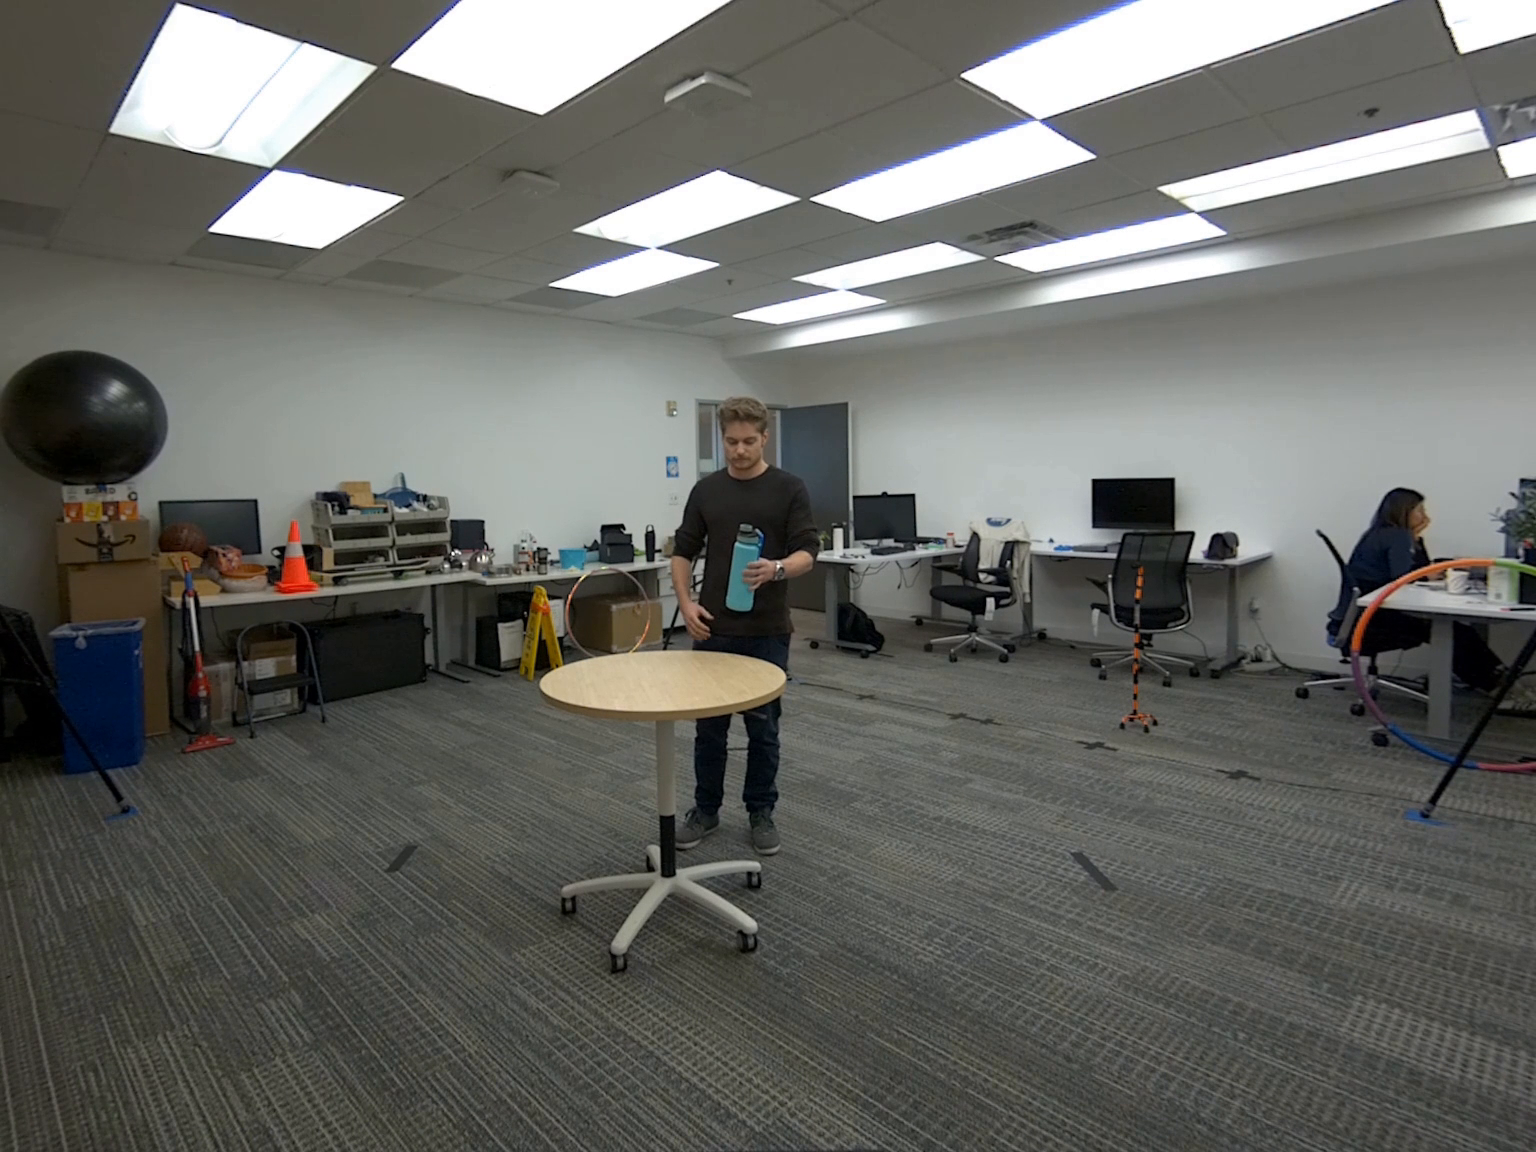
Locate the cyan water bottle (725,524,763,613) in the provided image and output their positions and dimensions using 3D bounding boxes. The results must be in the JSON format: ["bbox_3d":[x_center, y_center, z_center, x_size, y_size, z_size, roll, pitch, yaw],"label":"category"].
[{"bbox_3d":[-0.081,-0.029,2.885,0.092,0.281,0.093,8,13,-4],"label":"cyan water bottle"}]
